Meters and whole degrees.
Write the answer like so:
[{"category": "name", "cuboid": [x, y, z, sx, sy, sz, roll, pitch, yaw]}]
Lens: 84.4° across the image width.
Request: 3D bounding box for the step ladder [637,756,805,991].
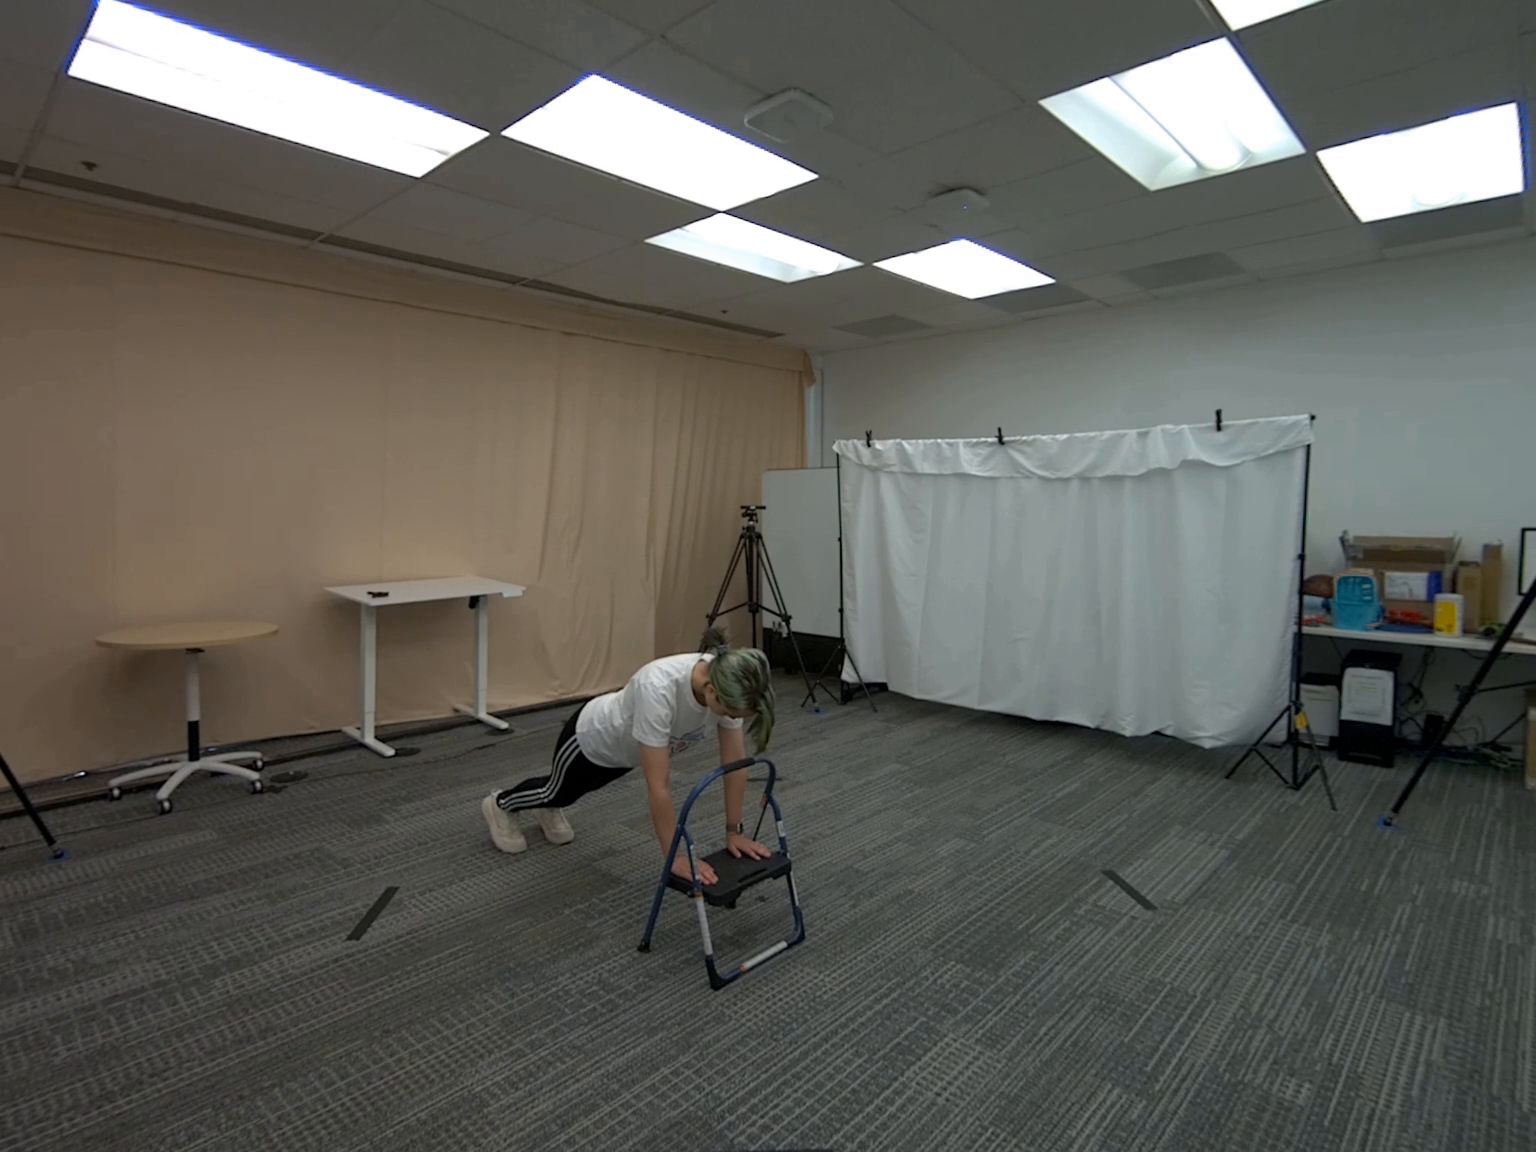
[{"category": "step ladder", "cuboid": [-0.139, 0.870, 2.661, 0.361, 0.605, 0.417, 3, 5, 42]}]
